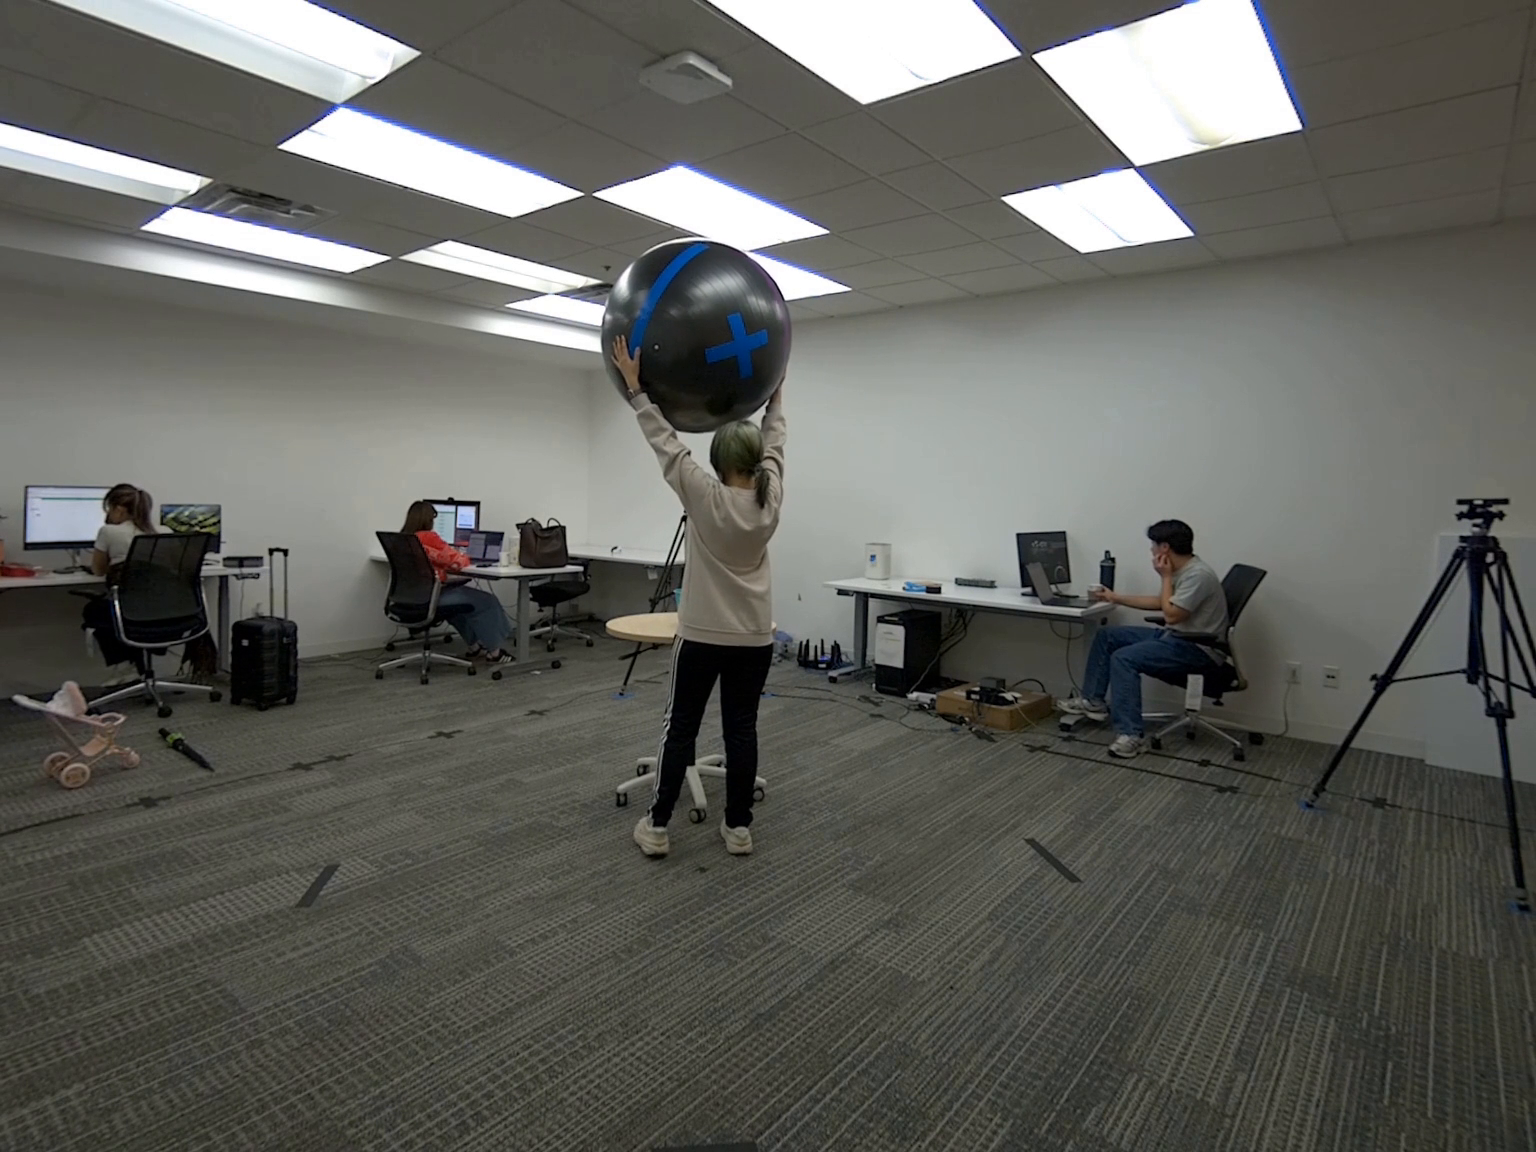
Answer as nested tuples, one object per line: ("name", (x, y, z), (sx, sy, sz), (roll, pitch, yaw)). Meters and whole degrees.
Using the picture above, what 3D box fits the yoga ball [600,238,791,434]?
("yoga ball", (-0.295, -0.951, 3.387), (0.757, 0.756, 0.761), (1, 4, -2))
